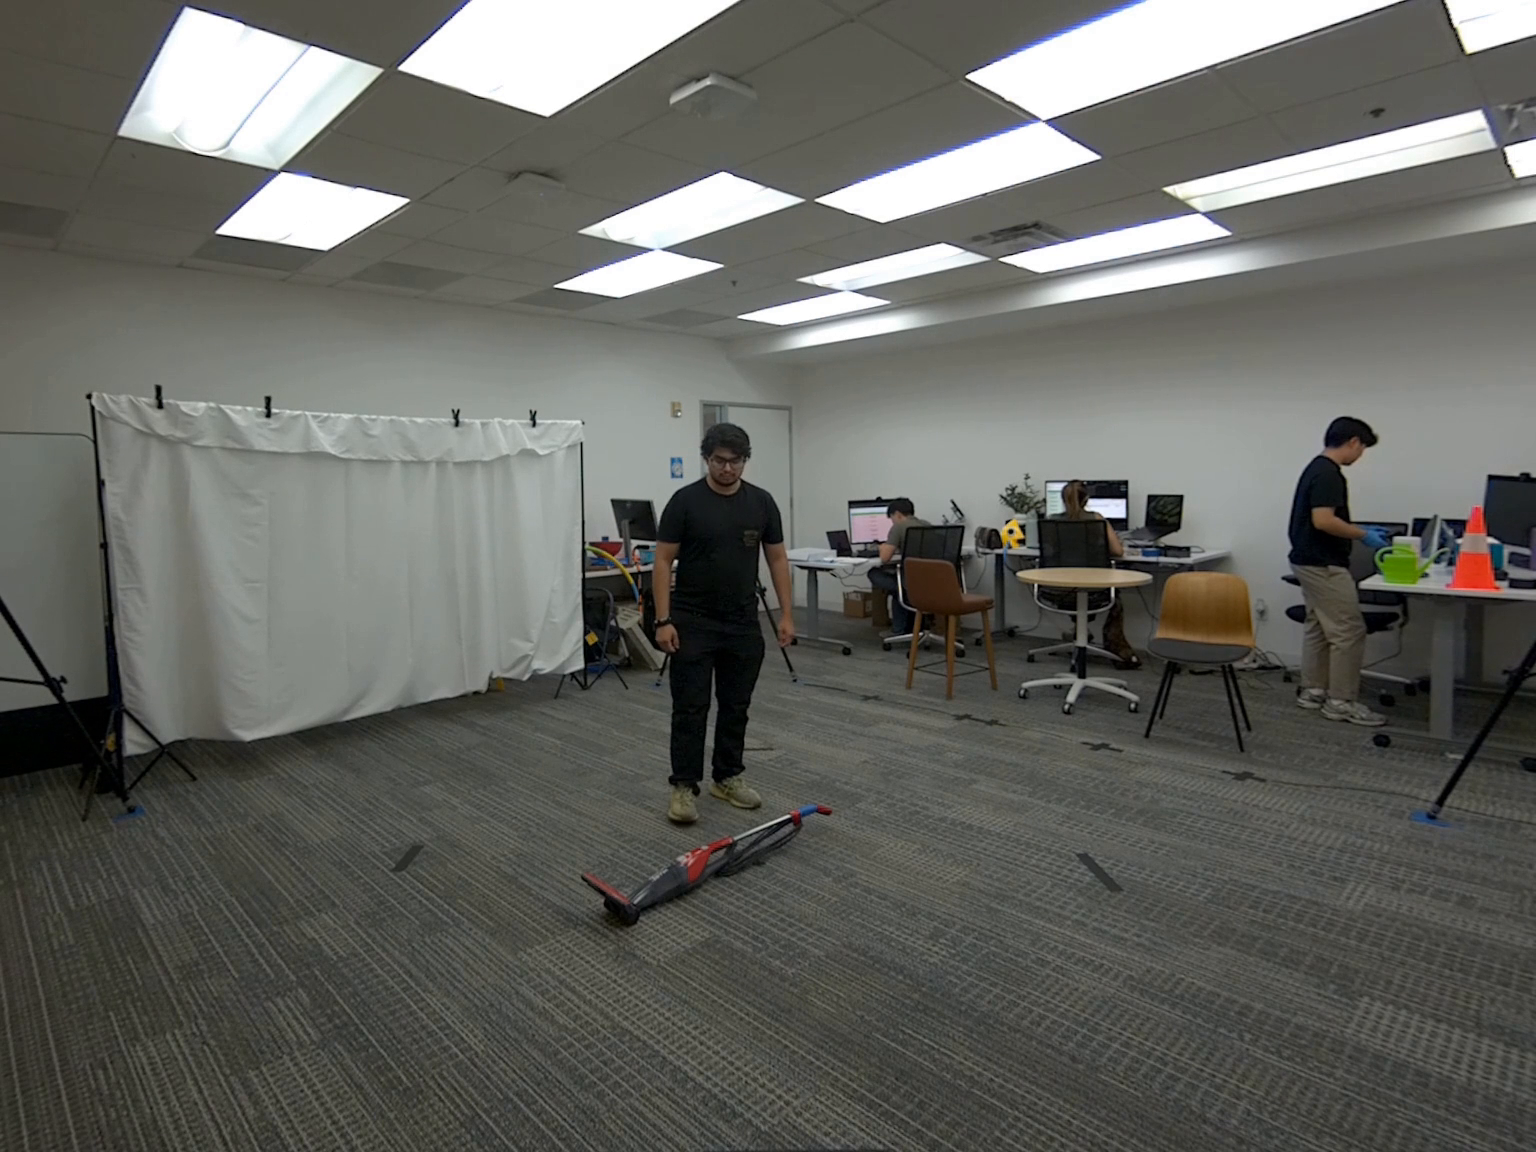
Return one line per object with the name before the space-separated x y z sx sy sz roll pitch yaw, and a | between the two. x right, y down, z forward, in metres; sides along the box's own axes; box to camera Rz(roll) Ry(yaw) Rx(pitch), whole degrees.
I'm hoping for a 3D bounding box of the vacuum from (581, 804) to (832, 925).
vacuum | -0.129 0.997 3.064 1.022 0.143 0.261 -6 11 -43
